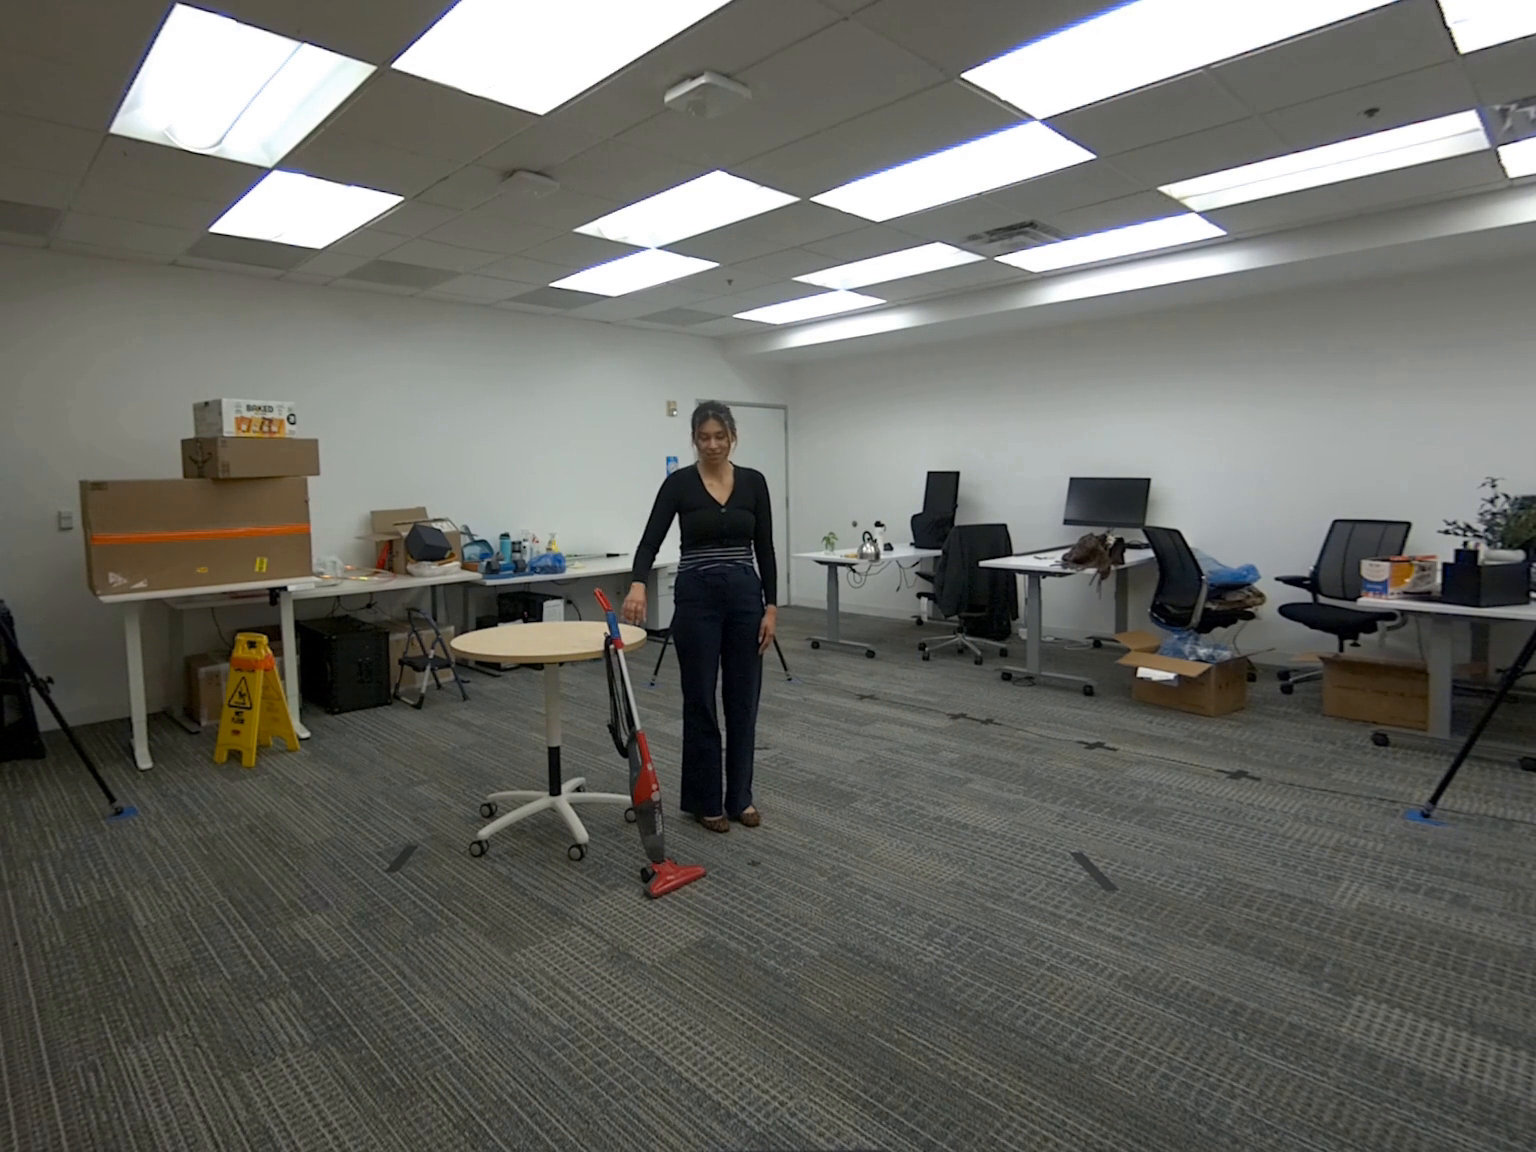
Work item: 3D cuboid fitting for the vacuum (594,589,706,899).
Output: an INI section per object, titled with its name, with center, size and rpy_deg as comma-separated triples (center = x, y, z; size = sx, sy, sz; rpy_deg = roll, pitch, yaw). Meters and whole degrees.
[vacuum]
center = -0.492, 0.565, 3.083
size = 0.246, 1.064, 0.146
rpy_deg = -6, -16, -41
